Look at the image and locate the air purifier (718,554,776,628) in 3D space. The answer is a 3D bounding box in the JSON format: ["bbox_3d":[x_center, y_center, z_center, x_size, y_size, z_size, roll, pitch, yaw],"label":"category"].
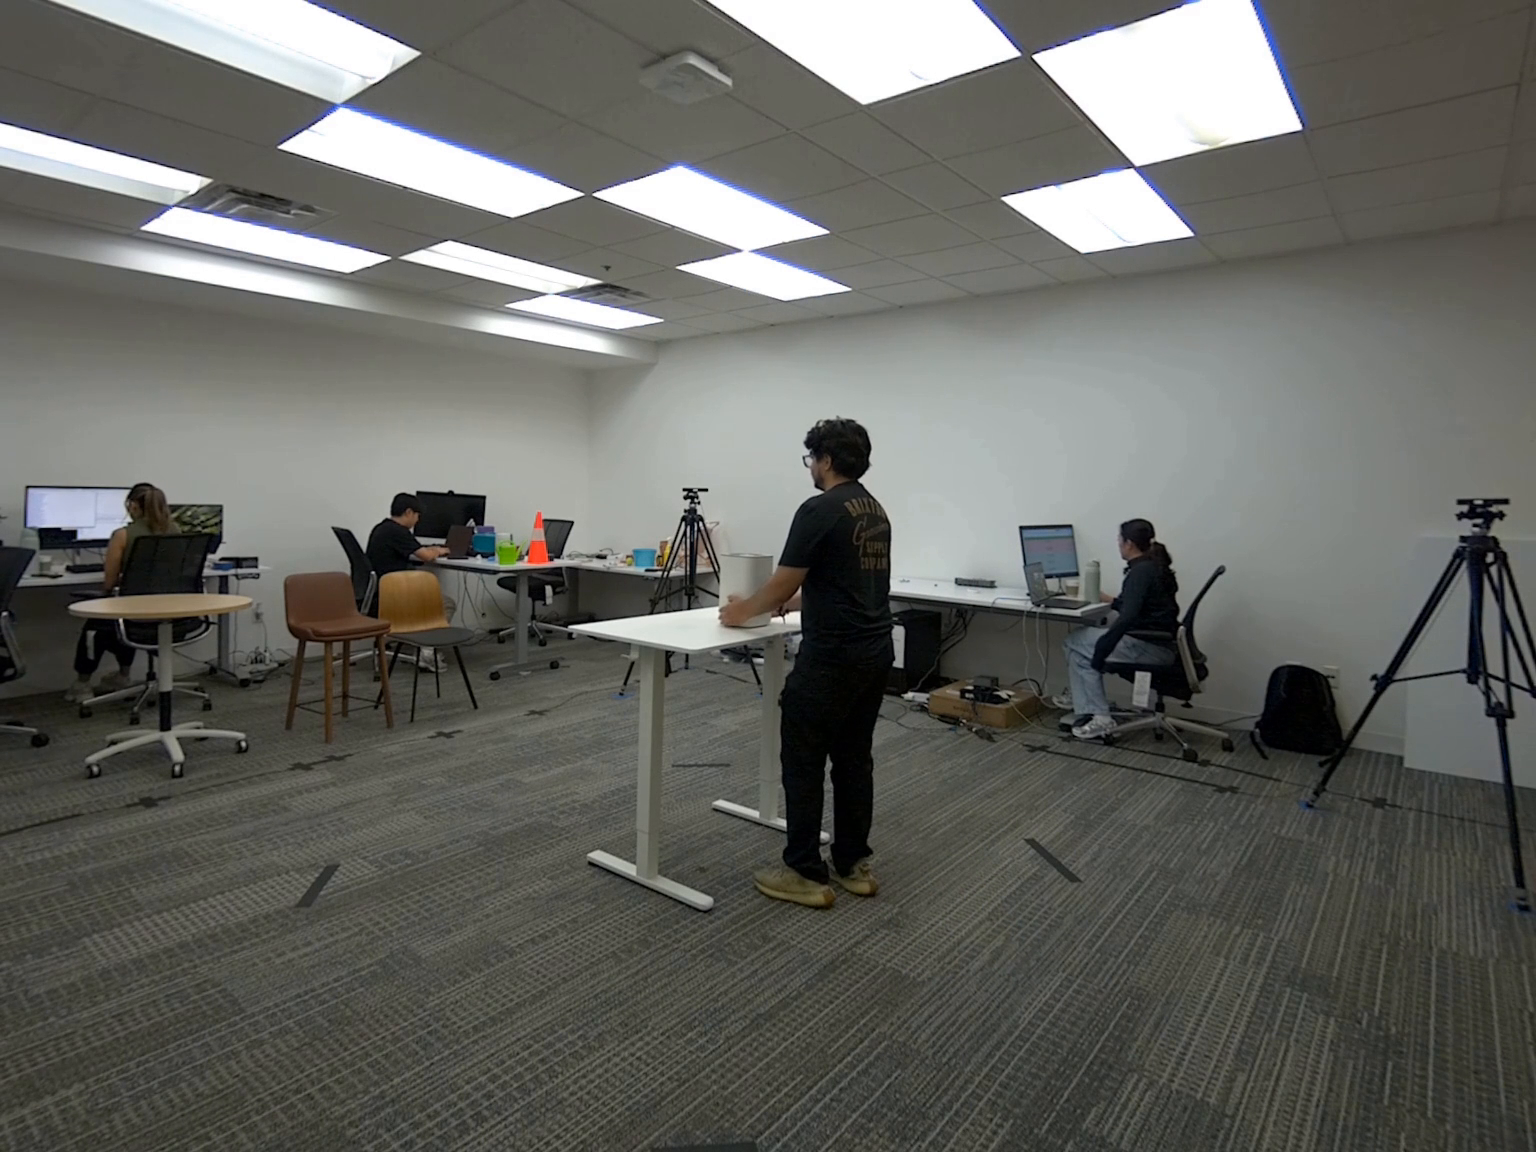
[{"bbox_3d":[-0.094,0.049,3.194,0.177,0.265,0.166,3,3,38],"label":"air purifier"}]
